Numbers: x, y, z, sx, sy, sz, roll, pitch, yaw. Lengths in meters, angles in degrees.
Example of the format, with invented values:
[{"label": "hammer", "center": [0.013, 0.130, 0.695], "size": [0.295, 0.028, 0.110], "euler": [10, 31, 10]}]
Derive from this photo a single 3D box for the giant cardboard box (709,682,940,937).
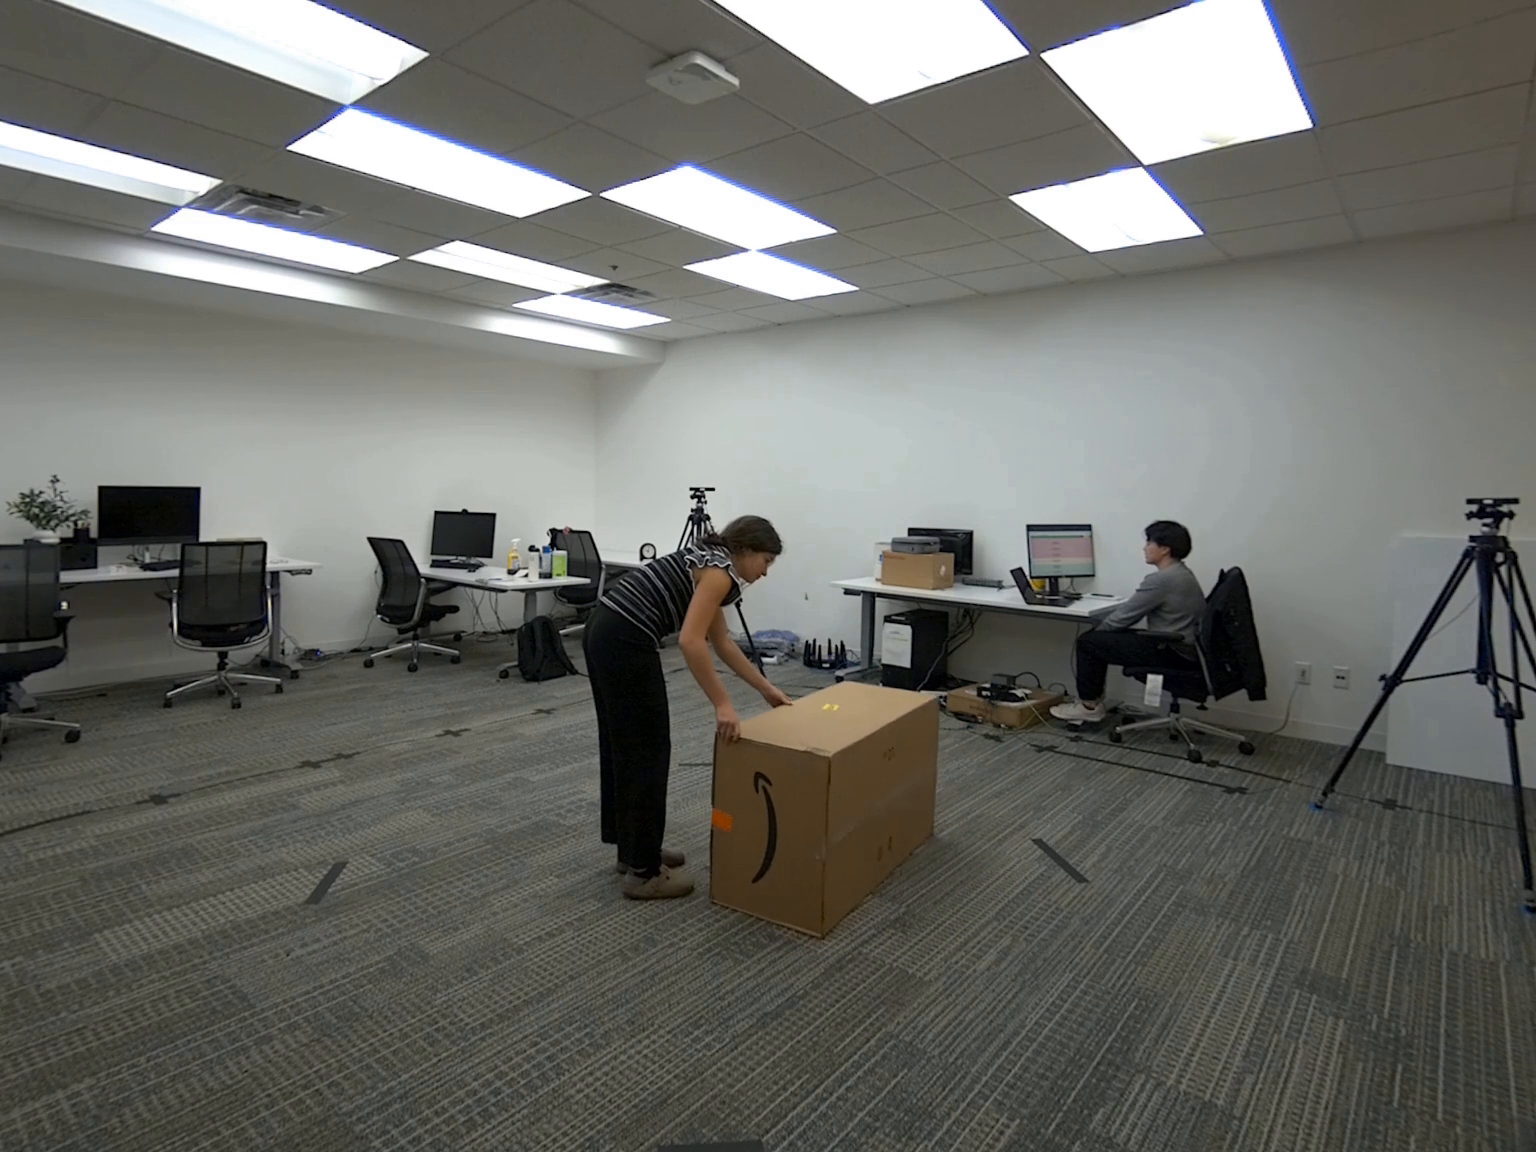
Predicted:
[{"label": "giant cardboard box", "center": [0.238, 0.782, 3.150], "size": [0.439, 0.575, 0.999], "euler": [3, 5, 30]}]
